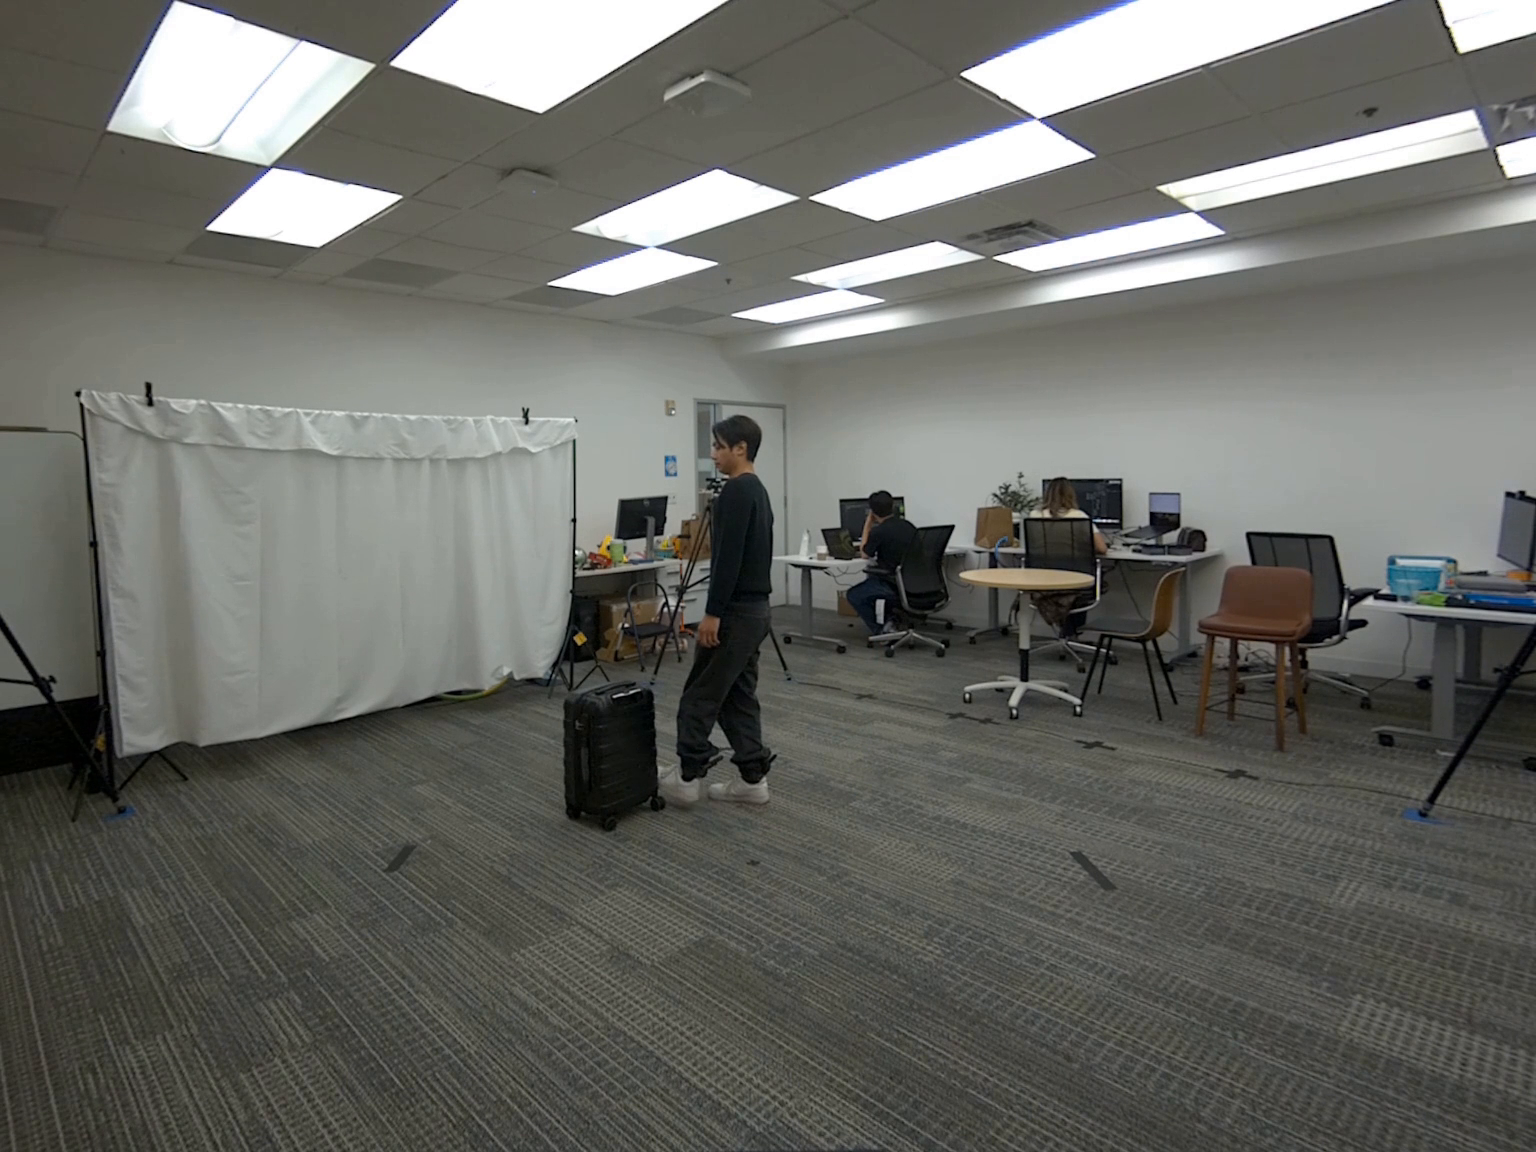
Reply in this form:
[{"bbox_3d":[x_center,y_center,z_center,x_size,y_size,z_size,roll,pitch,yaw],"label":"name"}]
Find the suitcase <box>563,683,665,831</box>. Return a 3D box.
[{"bbox_3d":[-0.656,0.725,3.572,0.255,0.547,0.366,1,6,39],"label":"suitcase"}]
